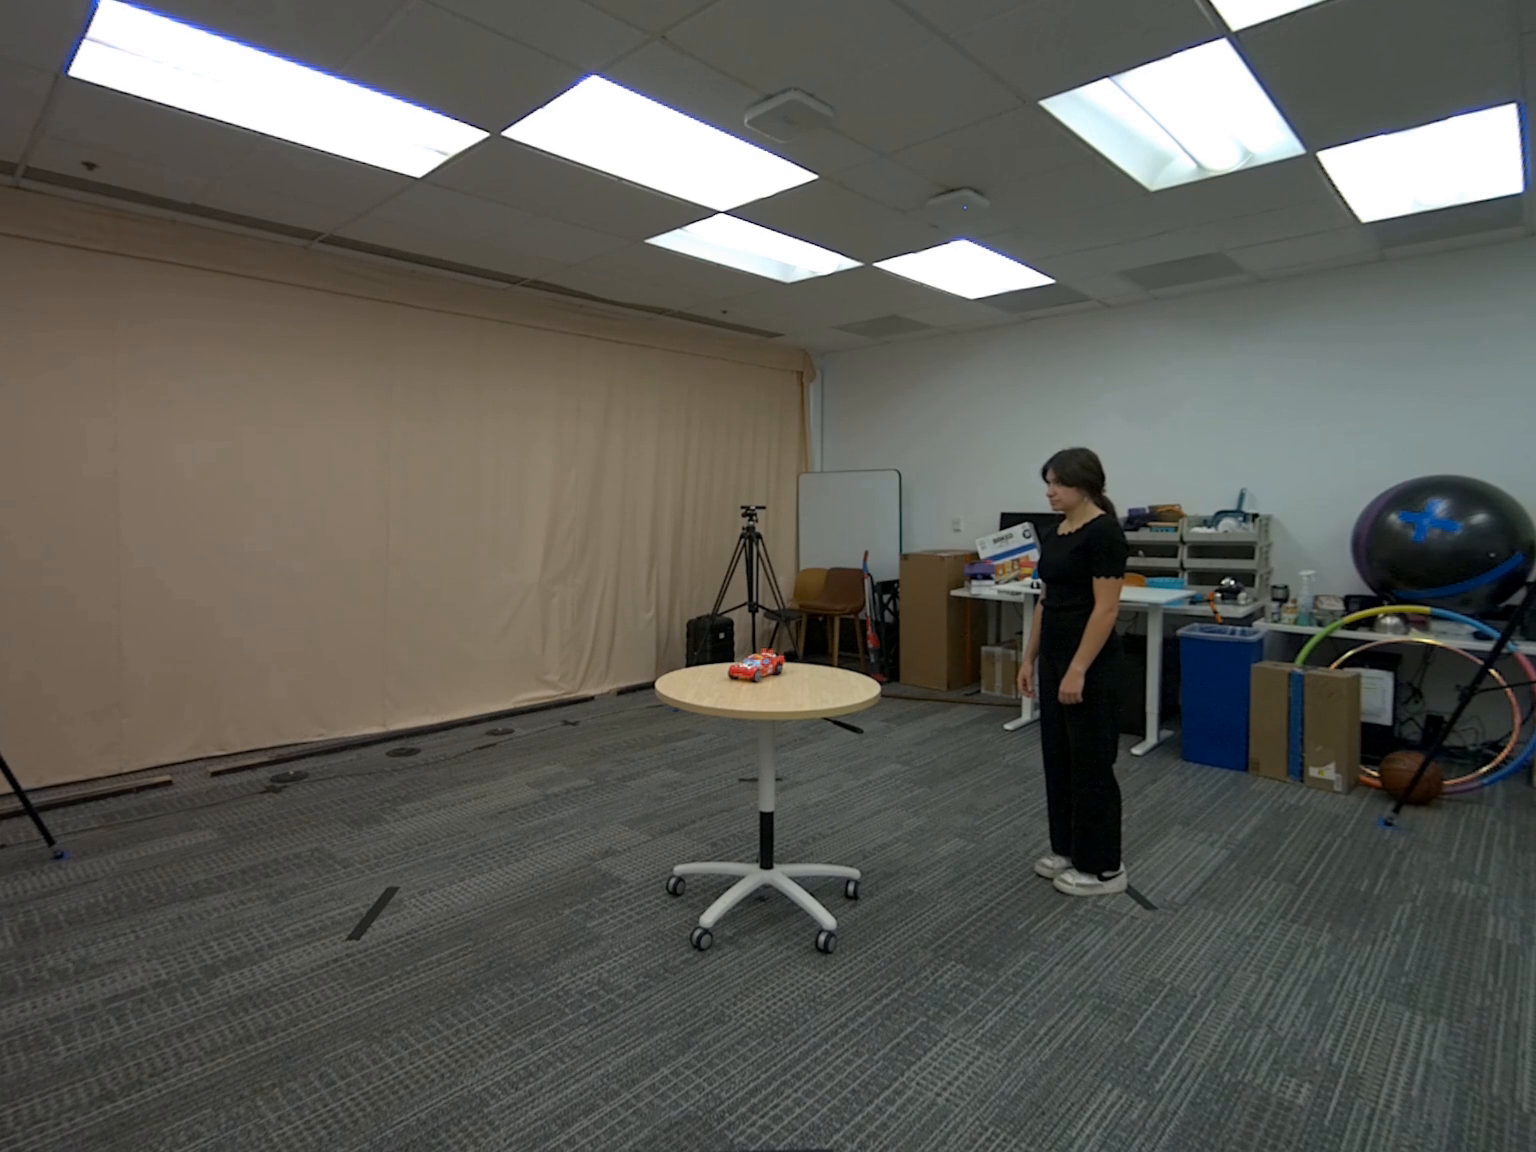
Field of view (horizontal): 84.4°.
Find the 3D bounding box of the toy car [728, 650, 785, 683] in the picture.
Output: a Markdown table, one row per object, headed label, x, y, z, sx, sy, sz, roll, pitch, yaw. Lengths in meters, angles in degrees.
| label | x | y | z | sx | sy | sz | roll | pitch | yaw |
| --- | --- | --- | --- | --- | --- | --- | --- | --- | --- |
| toy car | -0.027 | 0.328 | 3.007 | 0.134 | 0.082 | 0.249 | 4 | 17 | 32 |
